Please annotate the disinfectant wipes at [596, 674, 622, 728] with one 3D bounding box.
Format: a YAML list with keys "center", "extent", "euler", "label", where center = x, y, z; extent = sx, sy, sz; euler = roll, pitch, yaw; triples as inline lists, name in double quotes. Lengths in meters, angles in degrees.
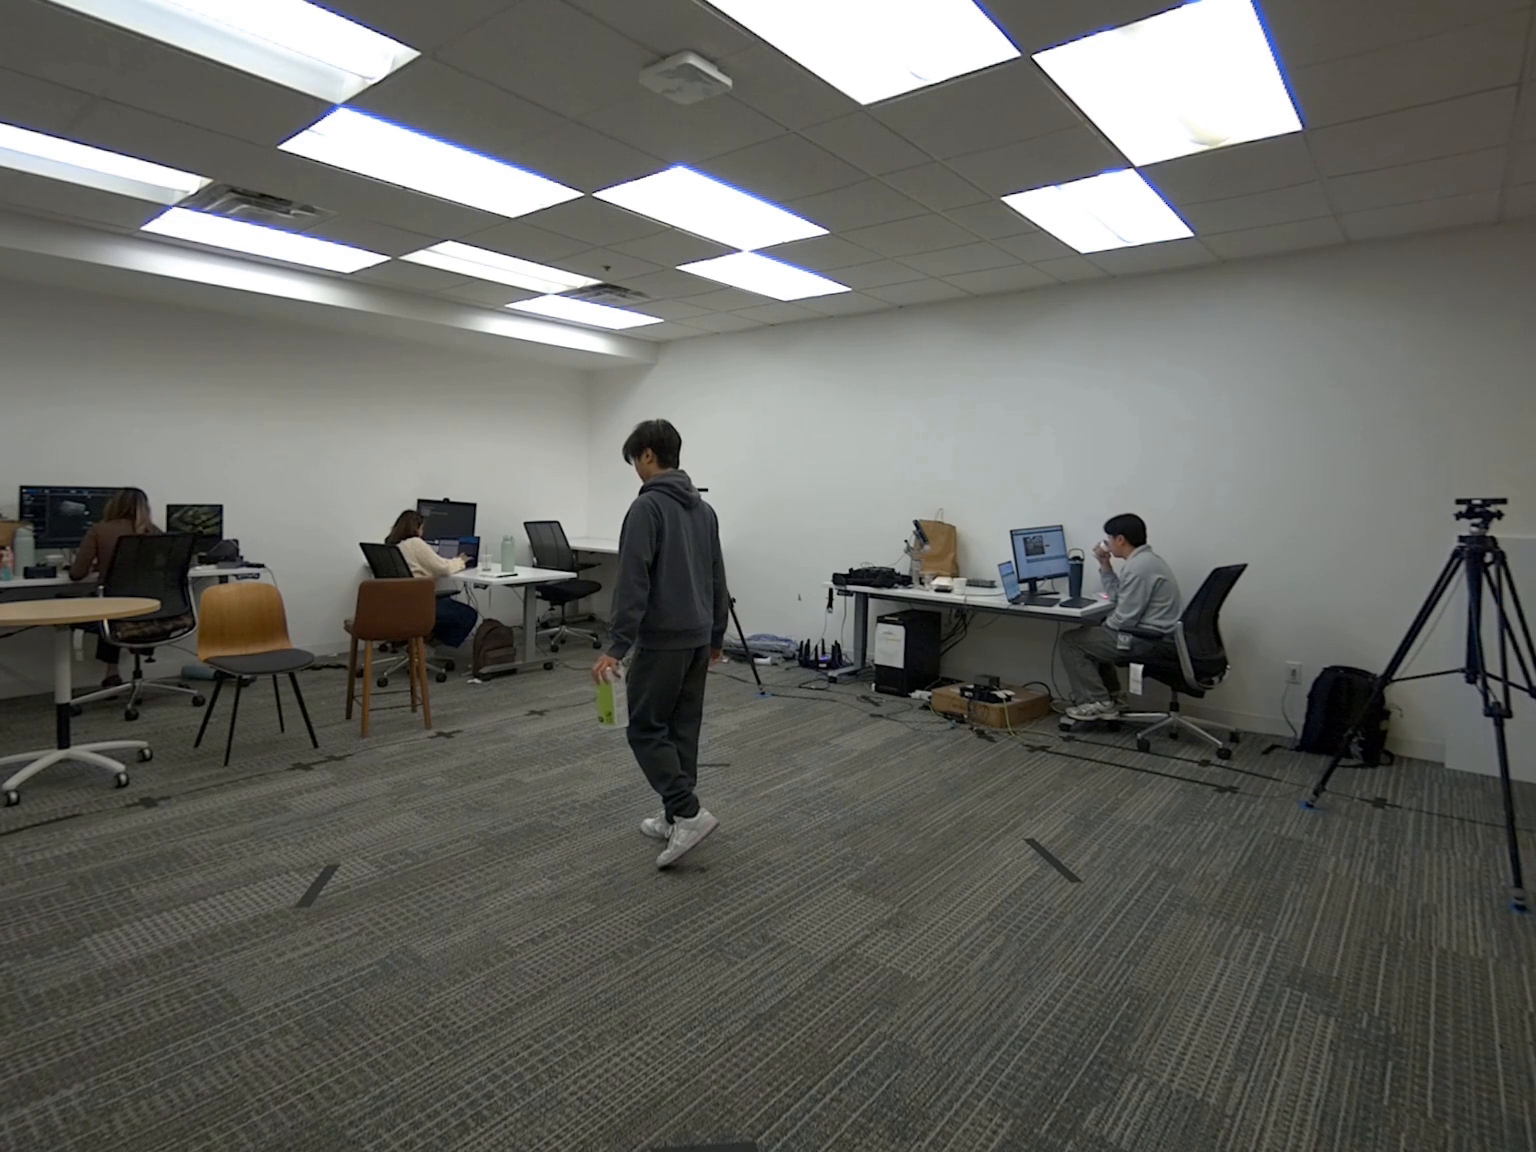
- center: [-0.581, 0.444, 3.115]
  extent: [0.118, 0.217, 0.118]
  euler: [-5, 2, -2]
  label: "disinfectant wipes"
